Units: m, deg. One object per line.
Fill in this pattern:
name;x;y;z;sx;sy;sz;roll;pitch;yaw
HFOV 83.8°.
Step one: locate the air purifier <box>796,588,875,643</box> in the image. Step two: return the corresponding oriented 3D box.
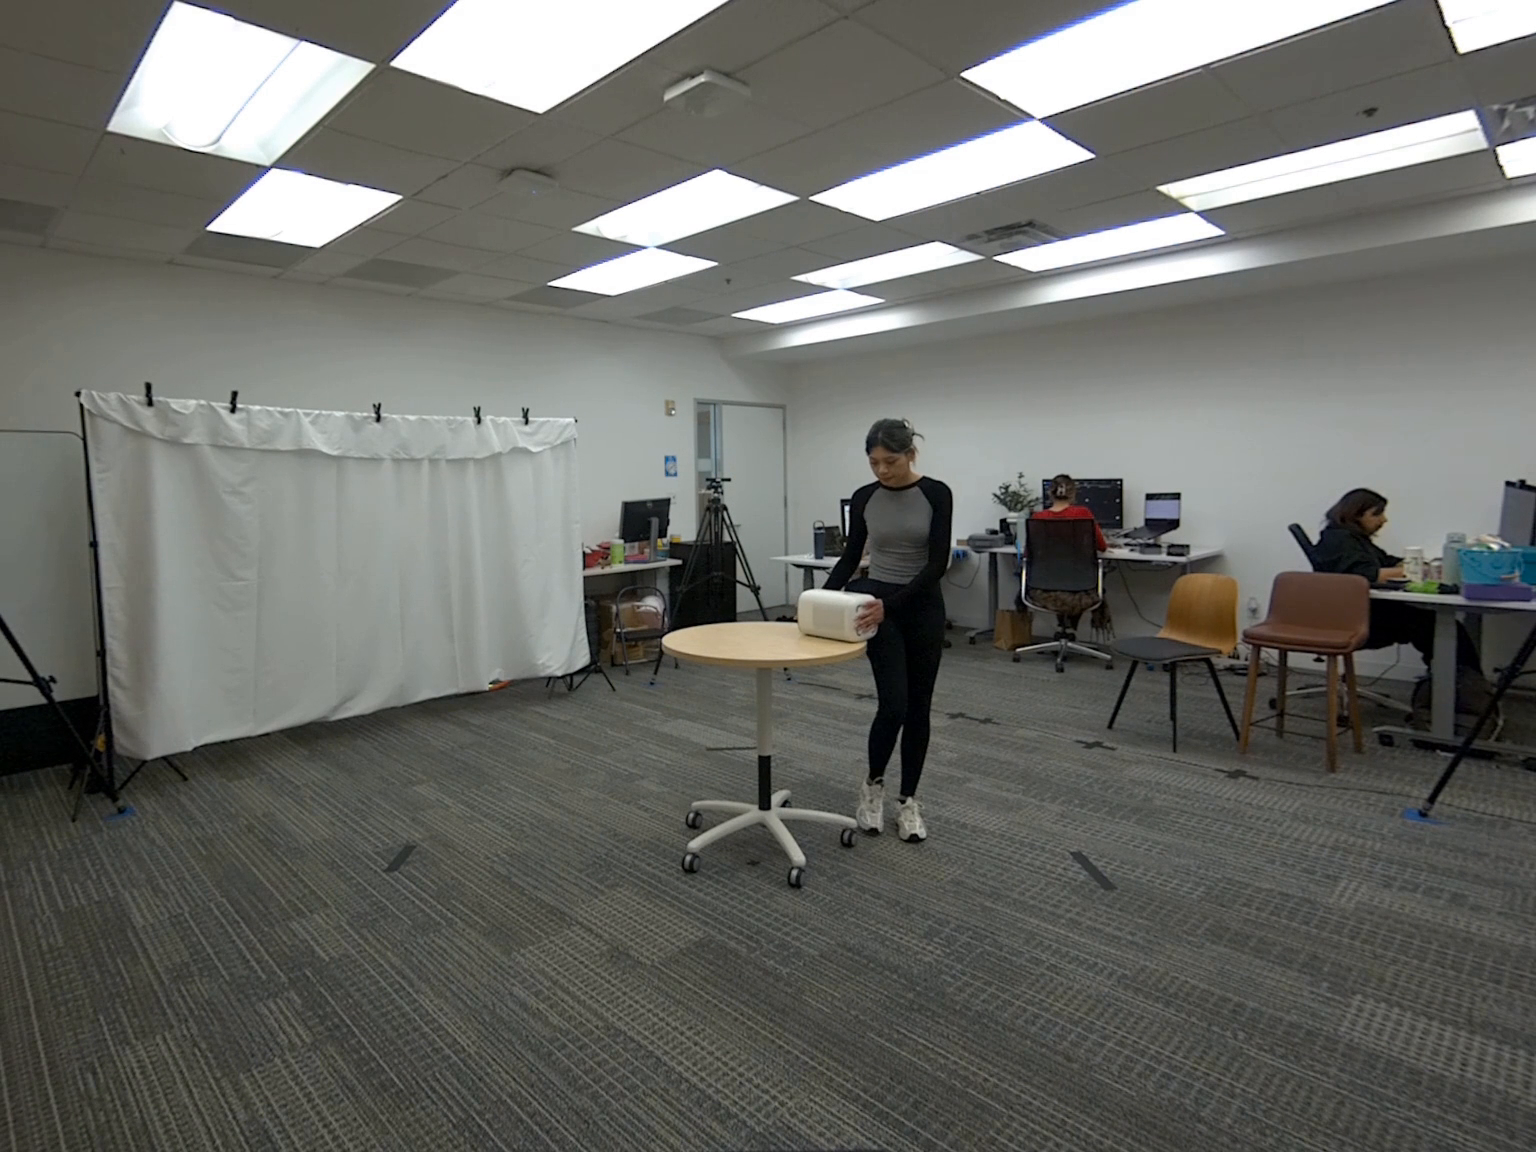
air purifier;0.266;0.148;3.212;0.166;0.171;0.273;-4;6;-44
